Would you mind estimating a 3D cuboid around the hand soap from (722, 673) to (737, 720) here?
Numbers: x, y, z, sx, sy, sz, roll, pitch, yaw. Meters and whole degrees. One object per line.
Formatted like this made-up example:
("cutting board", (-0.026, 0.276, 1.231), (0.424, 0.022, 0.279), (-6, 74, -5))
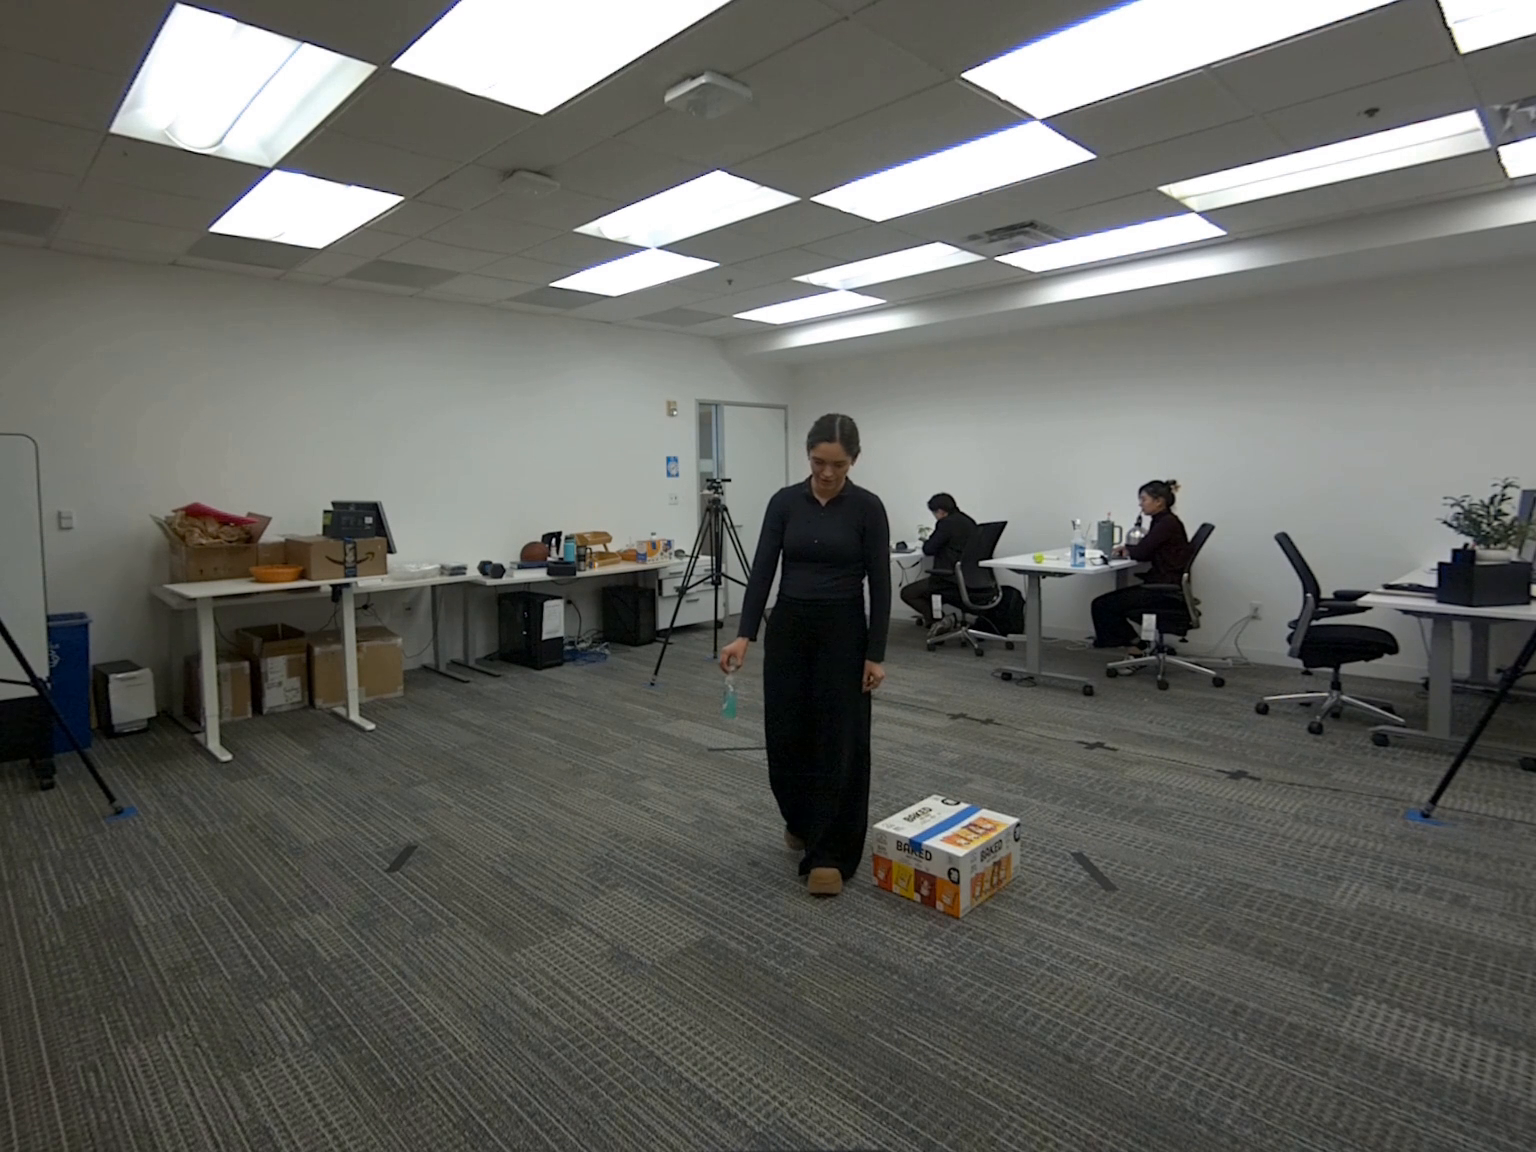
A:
("hand soap", (-0.122, 0.392, 2.859), (0.043, 0.168, 0.085), (2, 3, -9))
